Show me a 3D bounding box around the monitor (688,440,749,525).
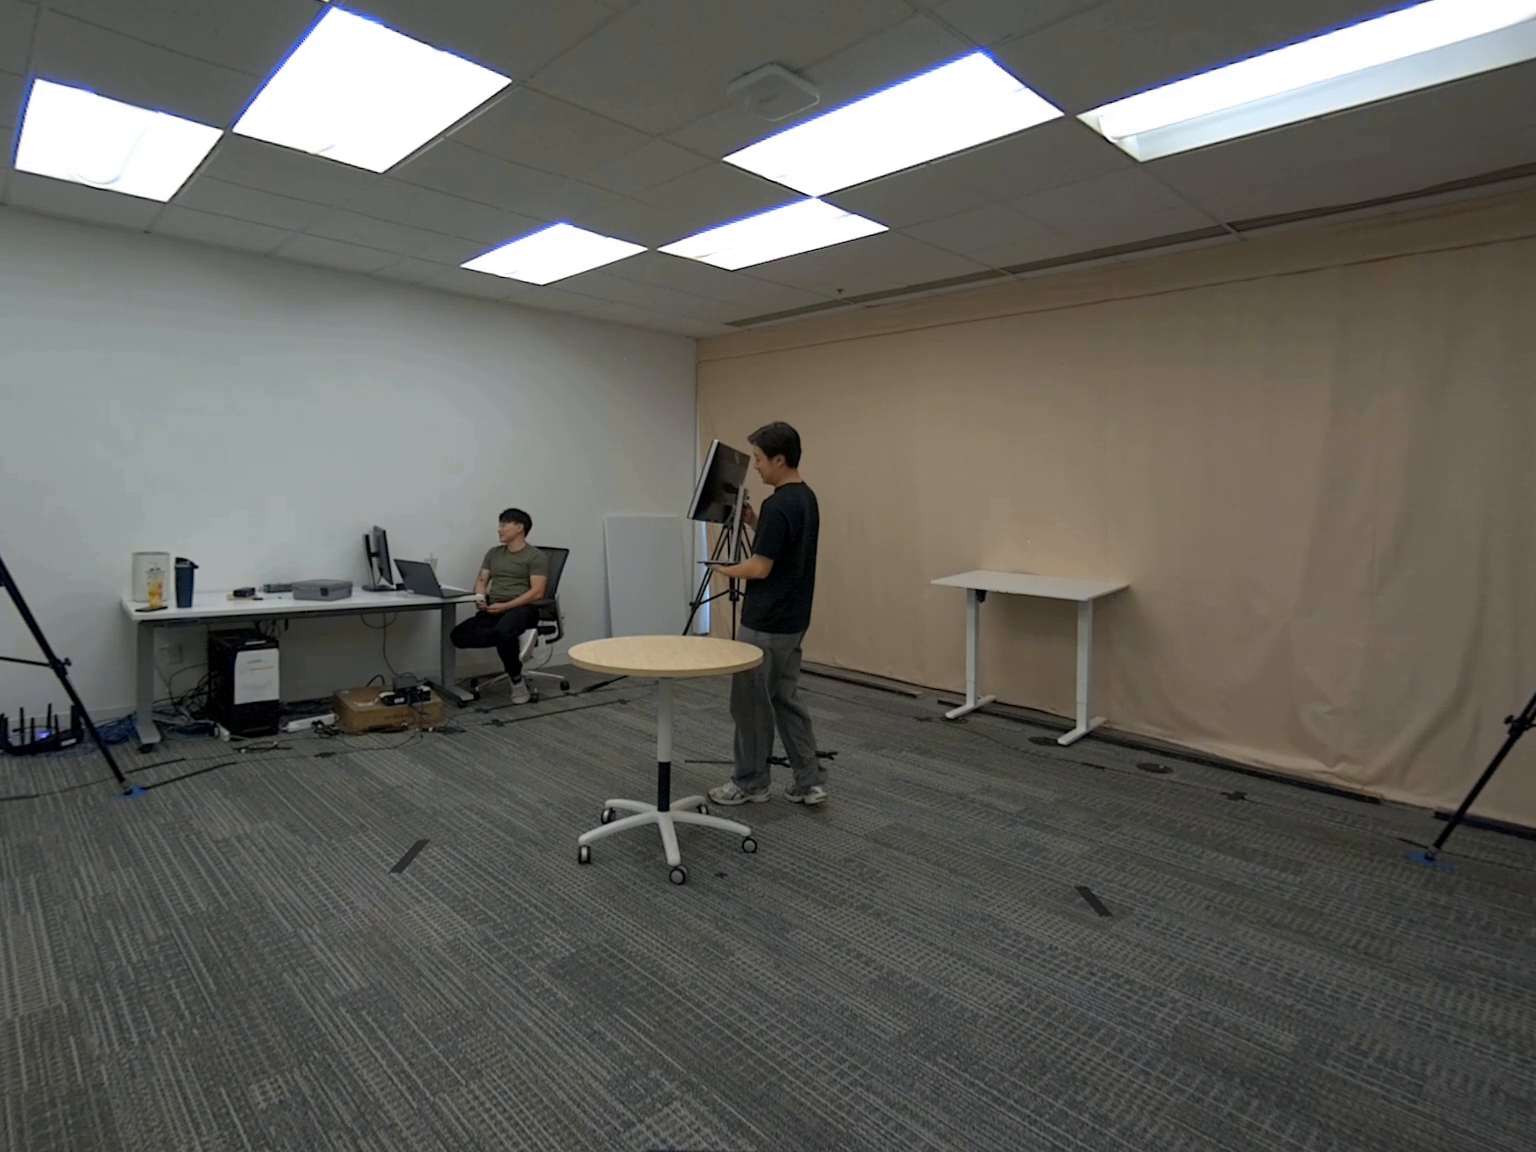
[{"bbox_3d":[-0.203,-0.309,3.906,0.225,0.566,0.553,2,0,17],"label":"monitor"}]
